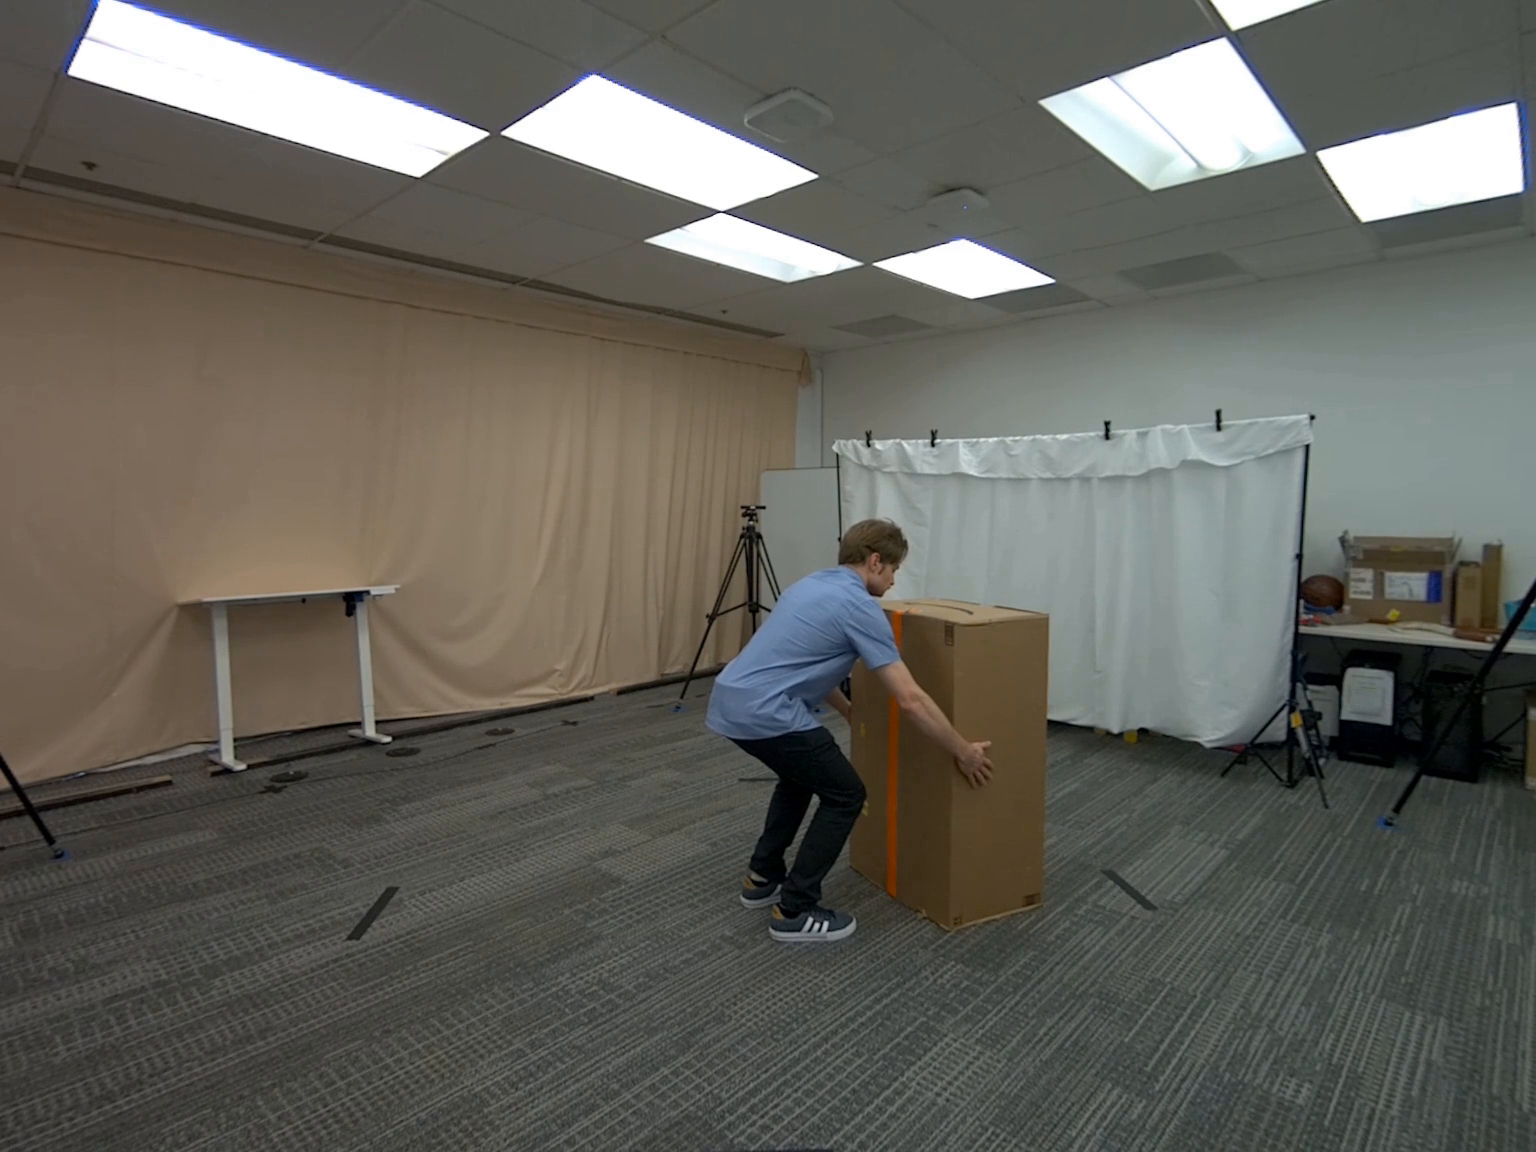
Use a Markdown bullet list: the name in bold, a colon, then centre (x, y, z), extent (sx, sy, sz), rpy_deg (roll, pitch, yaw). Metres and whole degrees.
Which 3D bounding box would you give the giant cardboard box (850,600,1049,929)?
- **giant cardboard box**: centre (0.639, 0.627, 3.064), extent (0.415, 1.024, 0.594), rpy_deg (-1, 4, -28)
